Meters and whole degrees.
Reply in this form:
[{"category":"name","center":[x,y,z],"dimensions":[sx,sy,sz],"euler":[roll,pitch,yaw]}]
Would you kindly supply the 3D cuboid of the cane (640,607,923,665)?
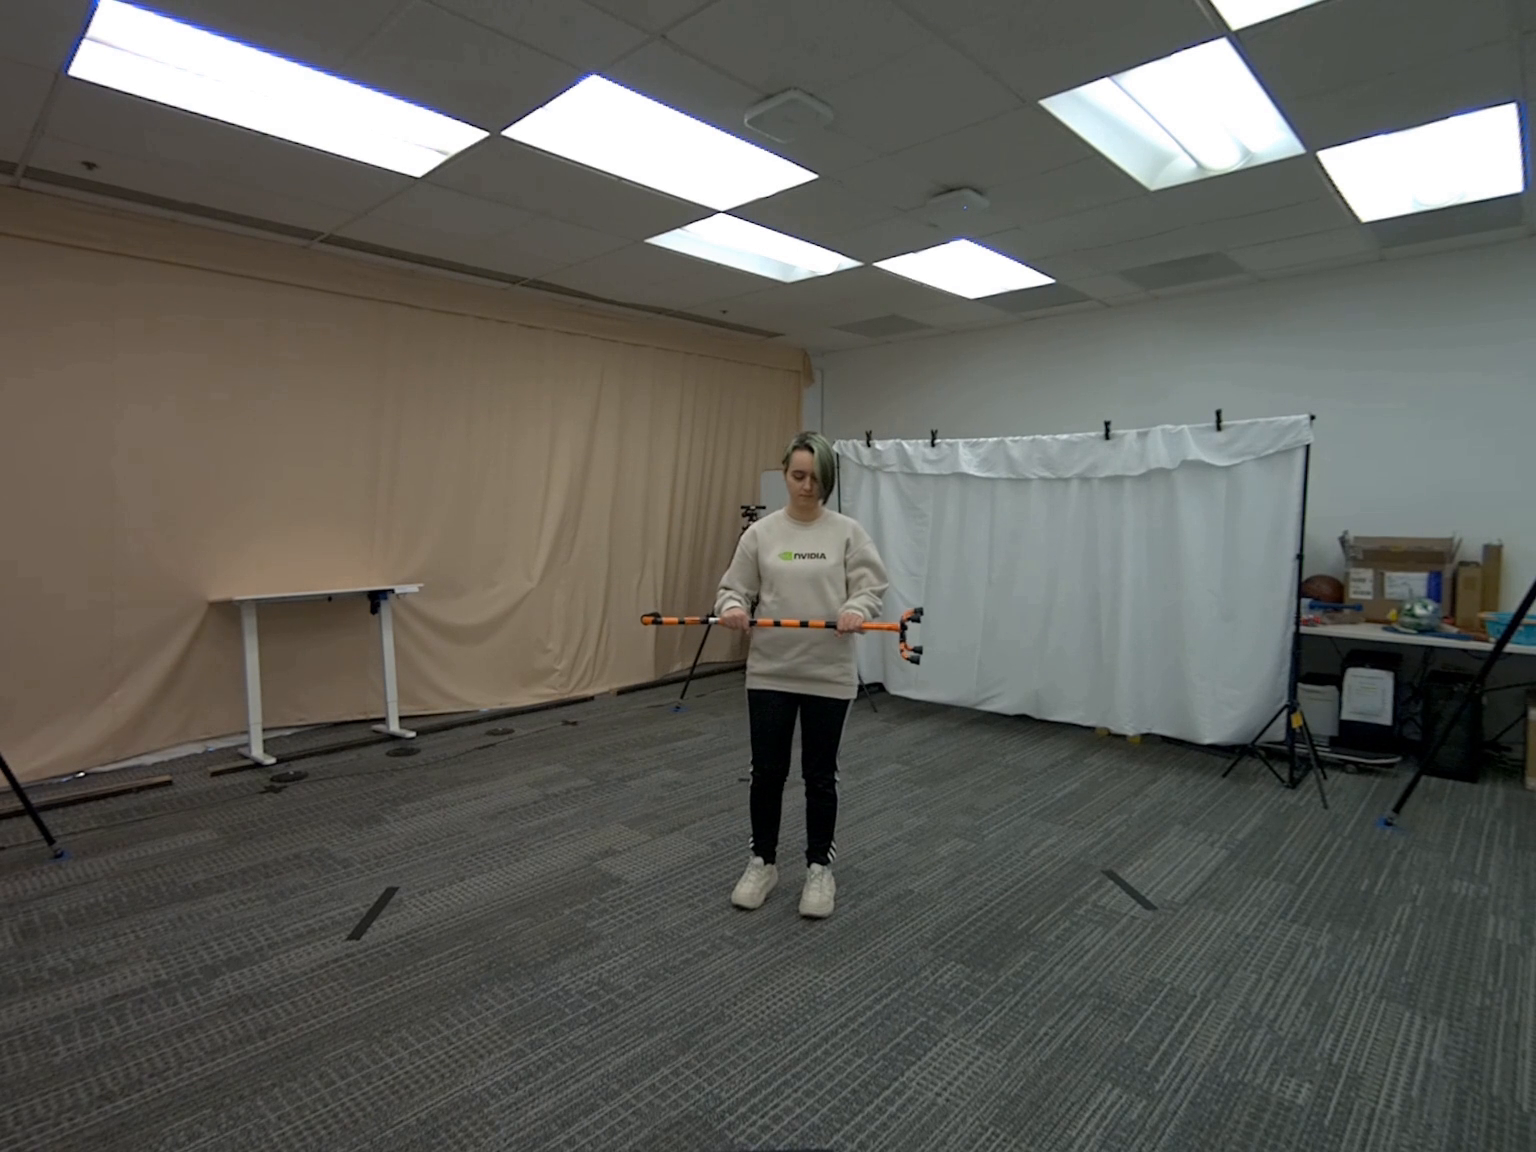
[{"category":"cane","center":[0.018,0.171,2.670],"dimensions":[0.924,0.151,0.203],"euler":[2,5,16]}]
